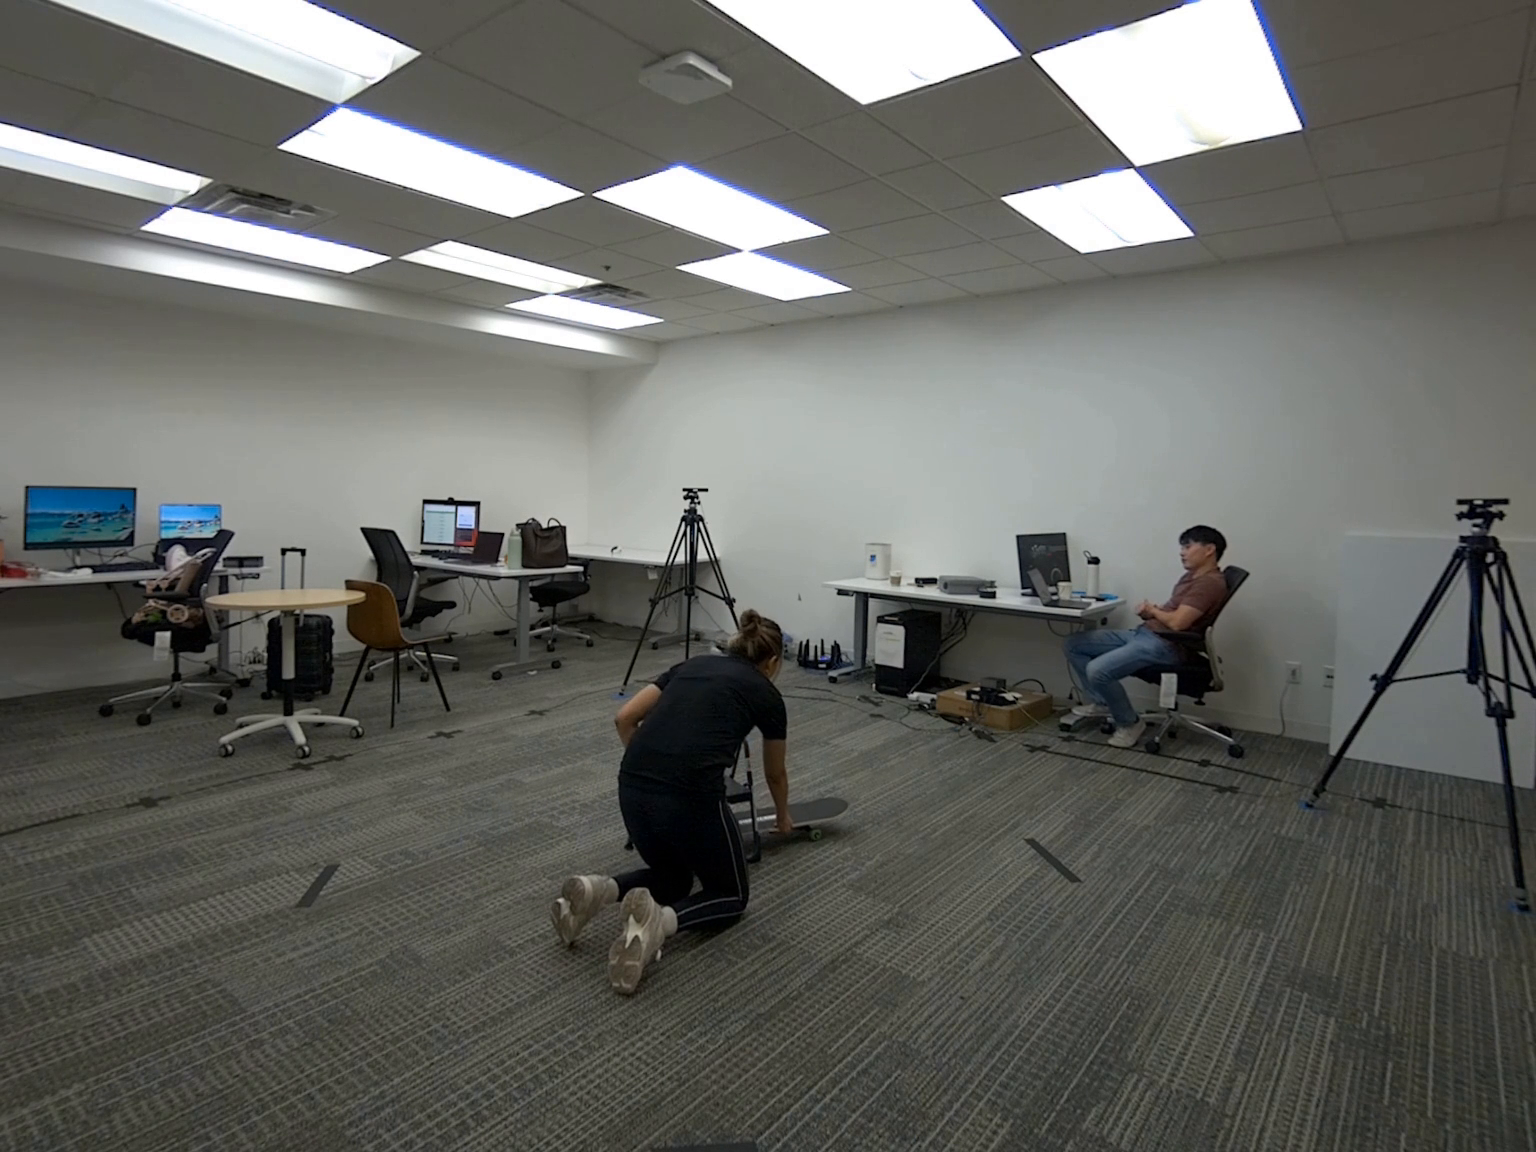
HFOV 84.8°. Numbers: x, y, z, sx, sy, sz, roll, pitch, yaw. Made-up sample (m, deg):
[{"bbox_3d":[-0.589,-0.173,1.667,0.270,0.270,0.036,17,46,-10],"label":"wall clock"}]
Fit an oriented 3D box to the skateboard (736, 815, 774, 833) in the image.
[{"bbox_3d":[-0.036,0.987,3.366,0.767,0.110,0.199,-1,7,-25],"label":"skateboard"}]
